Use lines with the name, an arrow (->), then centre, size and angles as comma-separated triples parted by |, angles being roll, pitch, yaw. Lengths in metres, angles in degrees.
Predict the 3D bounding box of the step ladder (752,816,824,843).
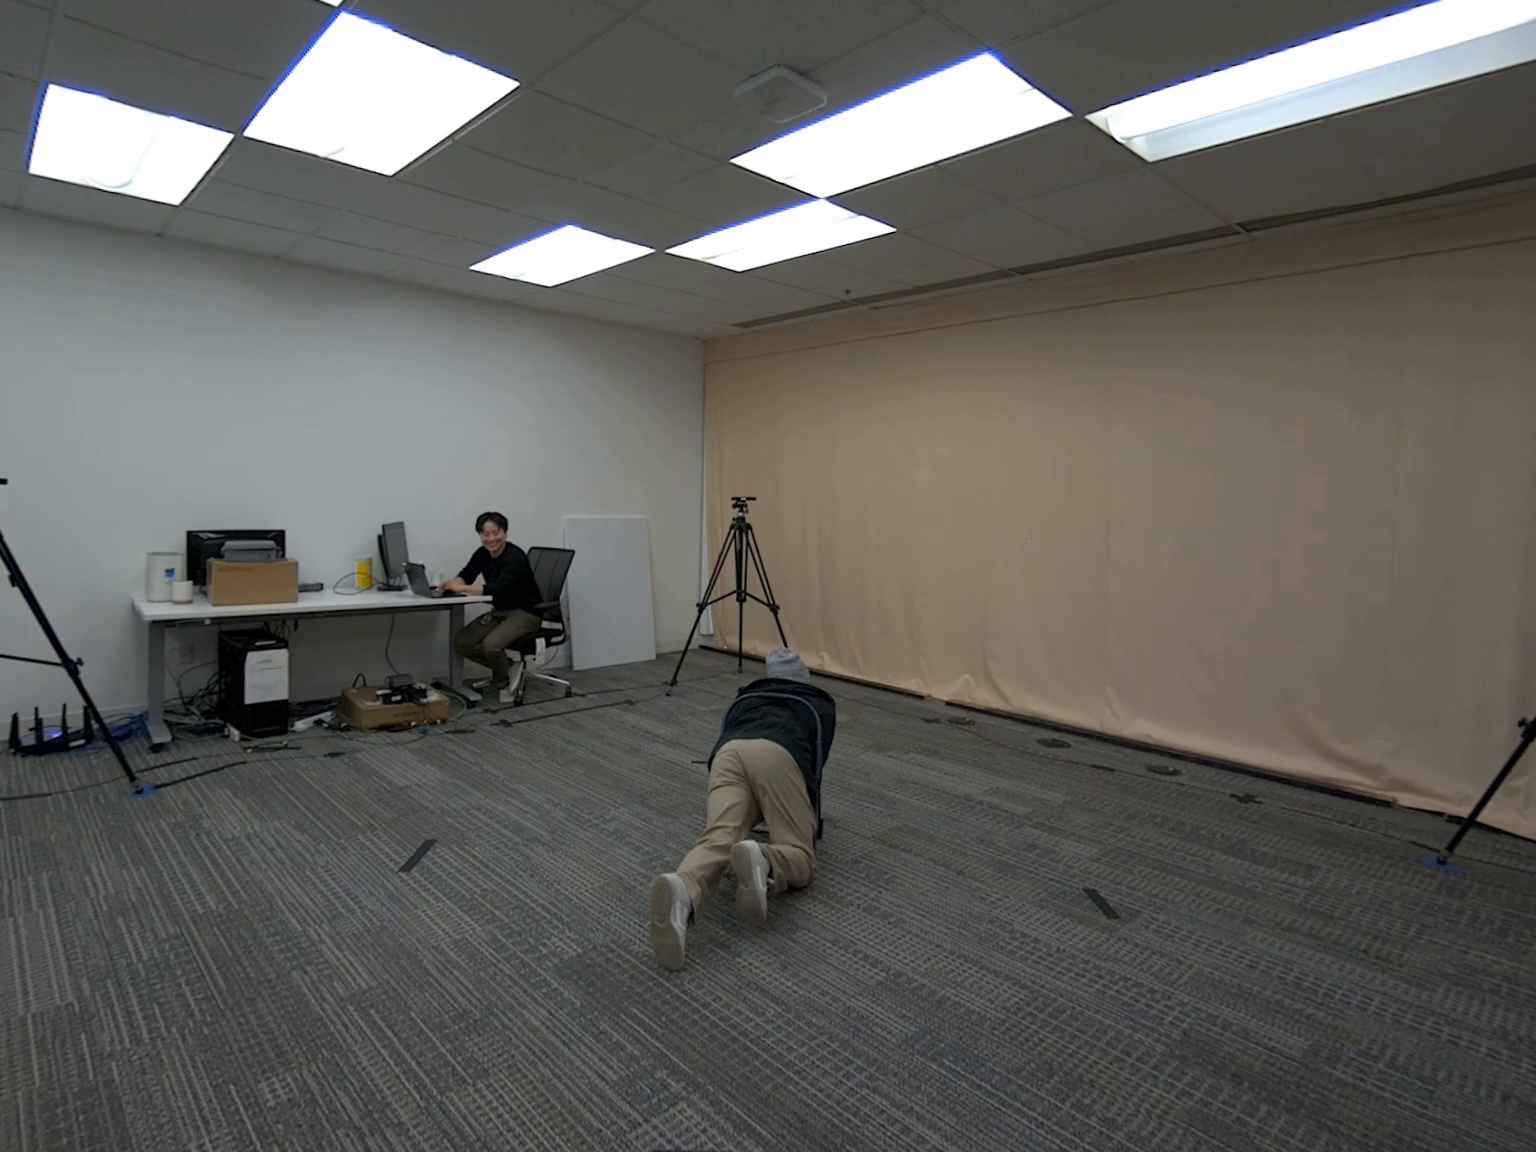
step ladder -> -0.006, 0.800, 3.357 | 0.434, 0.605, 0.347 | 2, 3, 8
